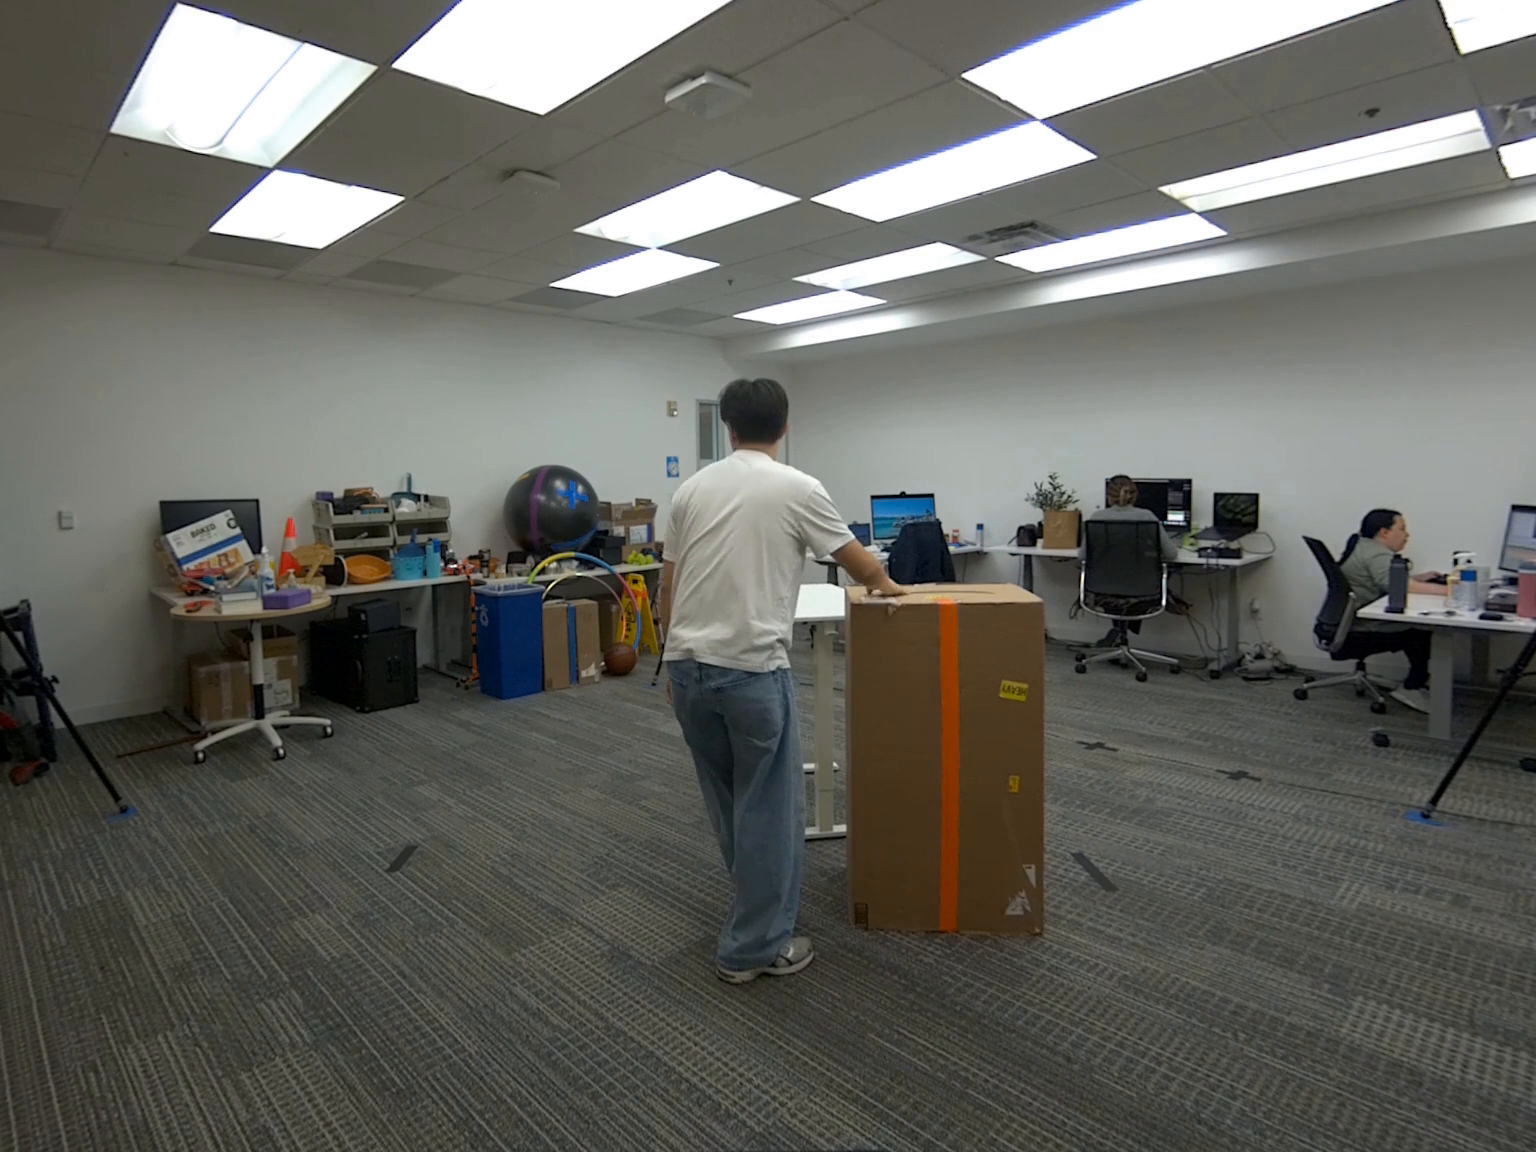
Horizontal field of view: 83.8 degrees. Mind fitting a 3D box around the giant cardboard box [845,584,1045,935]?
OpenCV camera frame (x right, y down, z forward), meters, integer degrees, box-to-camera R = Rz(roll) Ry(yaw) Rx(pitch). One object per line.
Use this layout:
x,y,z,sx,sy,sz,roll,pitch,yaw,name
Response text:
0.561,0.563,2.789,0.580,1.022,0.426,0,4,4,giant cardboard box
